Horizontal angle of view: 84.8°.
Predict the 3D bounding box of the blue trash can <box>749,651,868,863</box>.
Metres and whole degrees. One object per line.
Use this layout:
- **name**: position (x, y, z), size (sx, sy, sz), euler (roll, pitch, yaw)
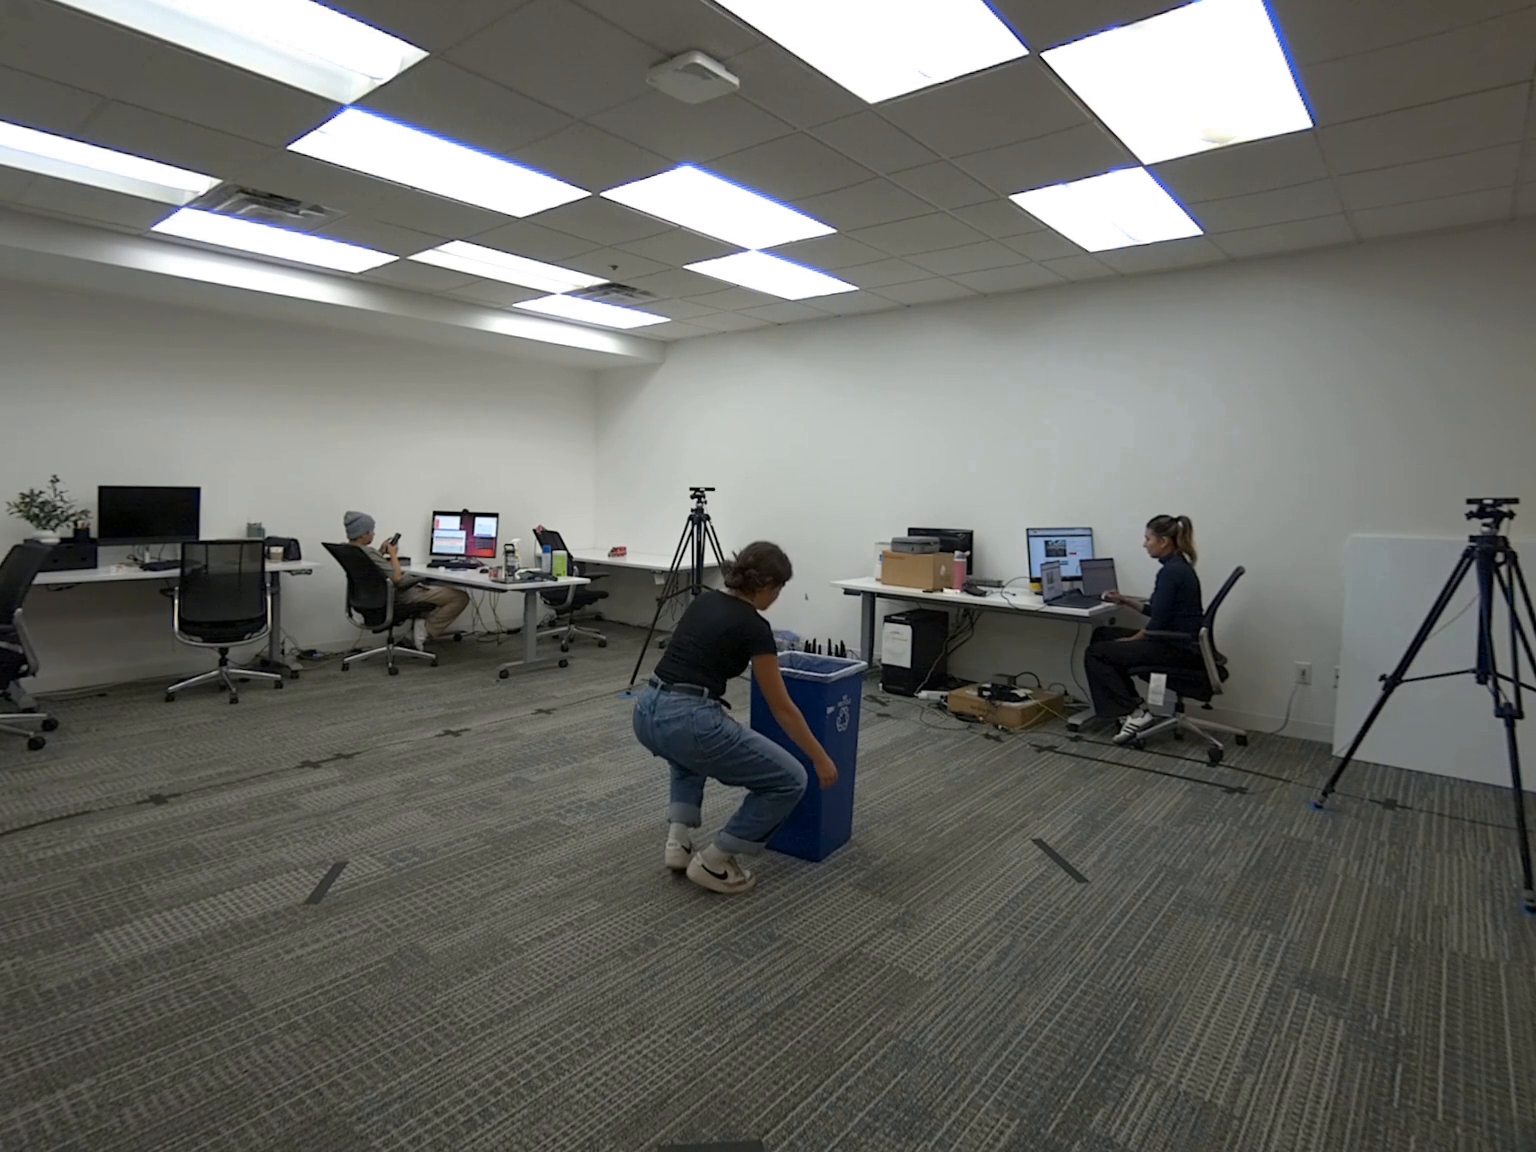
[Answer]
- **blue trash can**: position (0.140, 0.692, 3.368), size (0.390, 0.711, 0.364), euler (4, 4, 32)
